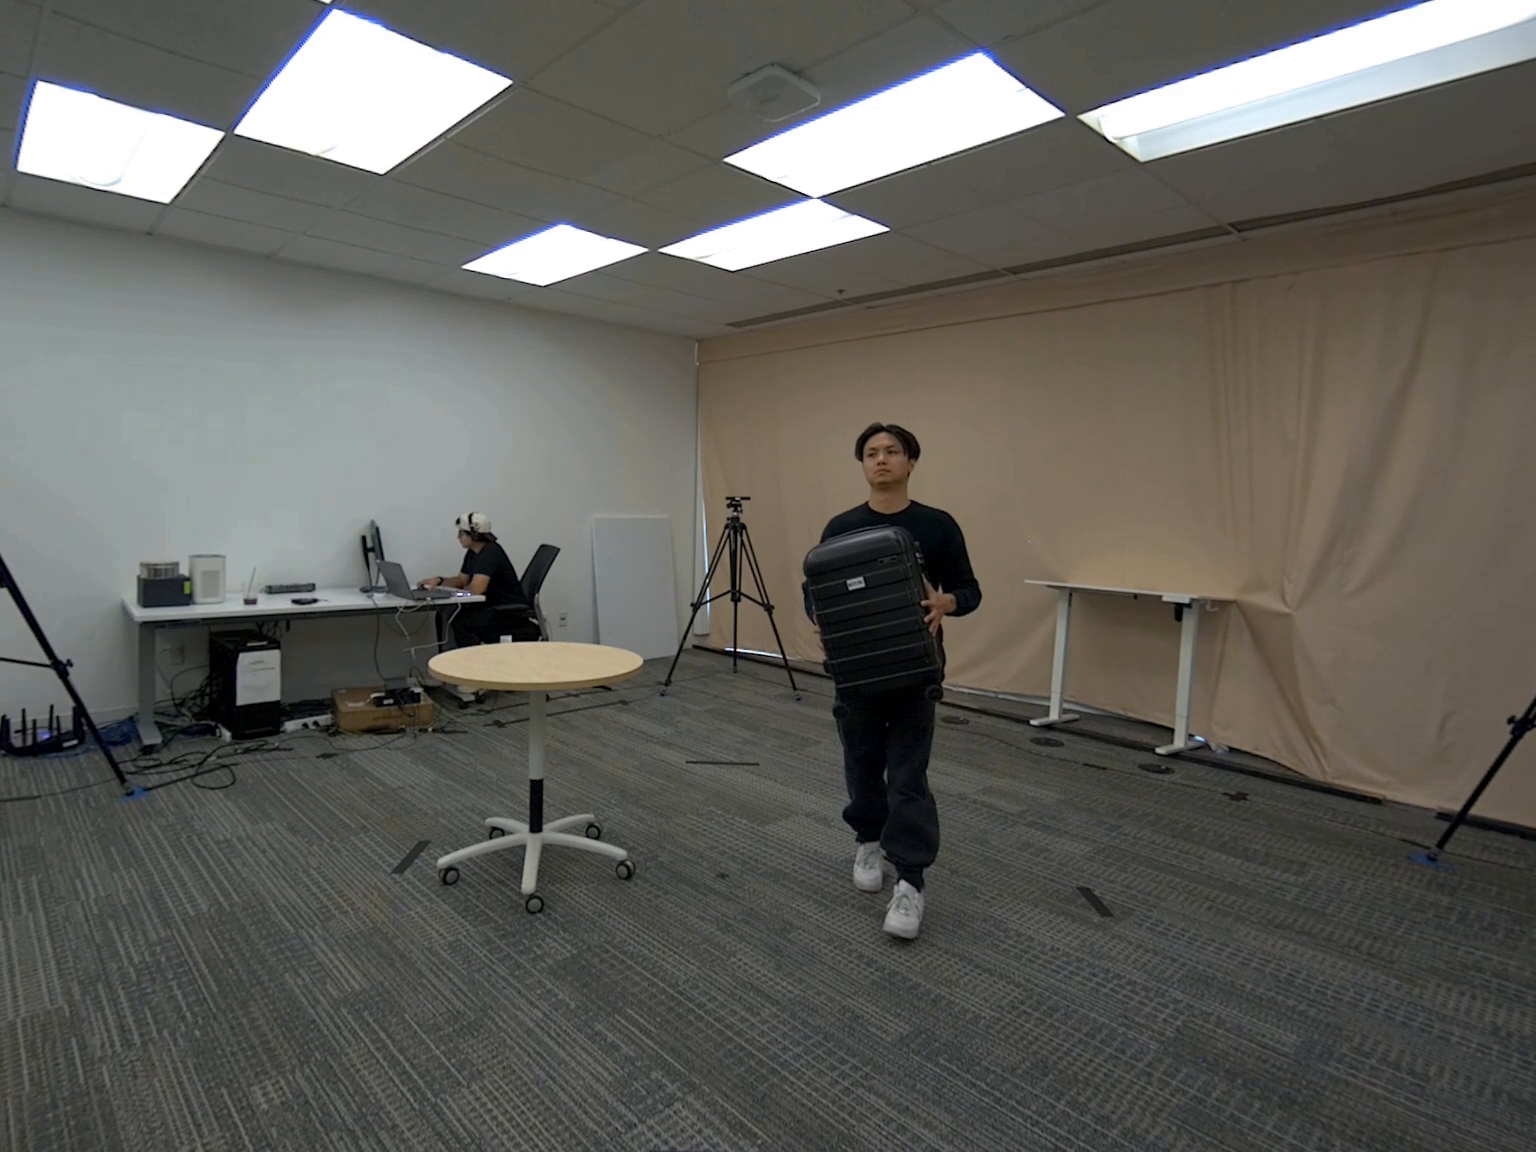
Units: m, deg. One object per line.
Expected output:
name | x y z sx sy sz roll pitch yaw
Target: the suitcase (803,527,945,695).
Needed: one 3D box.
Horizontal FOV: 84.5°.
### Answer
suitcase | 0.339 0.127 2.682 0.379 0.548 0.246 -14 3 17
